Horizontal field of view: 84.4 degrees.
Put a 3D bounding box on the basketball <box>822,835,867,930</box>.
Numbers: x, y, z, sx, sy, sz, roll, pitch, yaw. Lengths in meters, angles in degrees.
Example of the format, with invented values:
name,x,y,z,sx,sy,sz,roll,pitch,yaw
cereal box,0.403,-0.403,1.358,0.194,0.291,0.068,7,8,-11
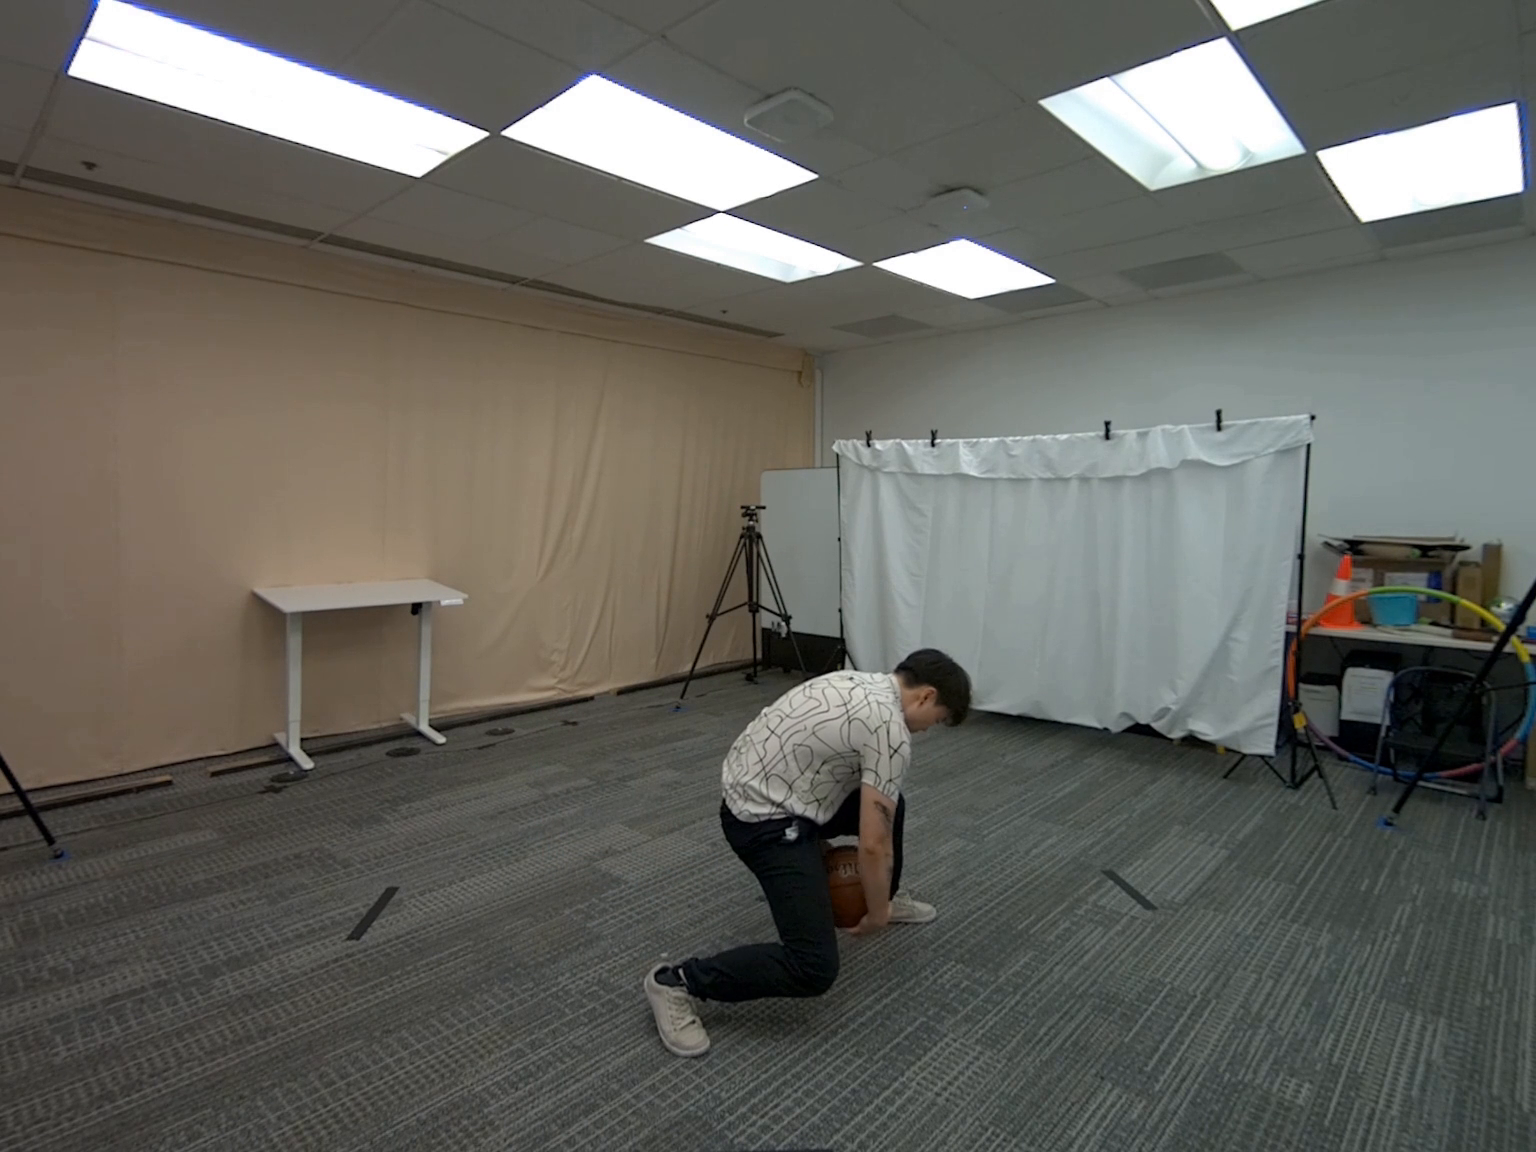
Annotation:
name,x,y,z,sx,sy,sz,roll,pitch,yaw
basketball,0.258,0.916,2.525,0.236,0.235,0.237,0,4,-2
